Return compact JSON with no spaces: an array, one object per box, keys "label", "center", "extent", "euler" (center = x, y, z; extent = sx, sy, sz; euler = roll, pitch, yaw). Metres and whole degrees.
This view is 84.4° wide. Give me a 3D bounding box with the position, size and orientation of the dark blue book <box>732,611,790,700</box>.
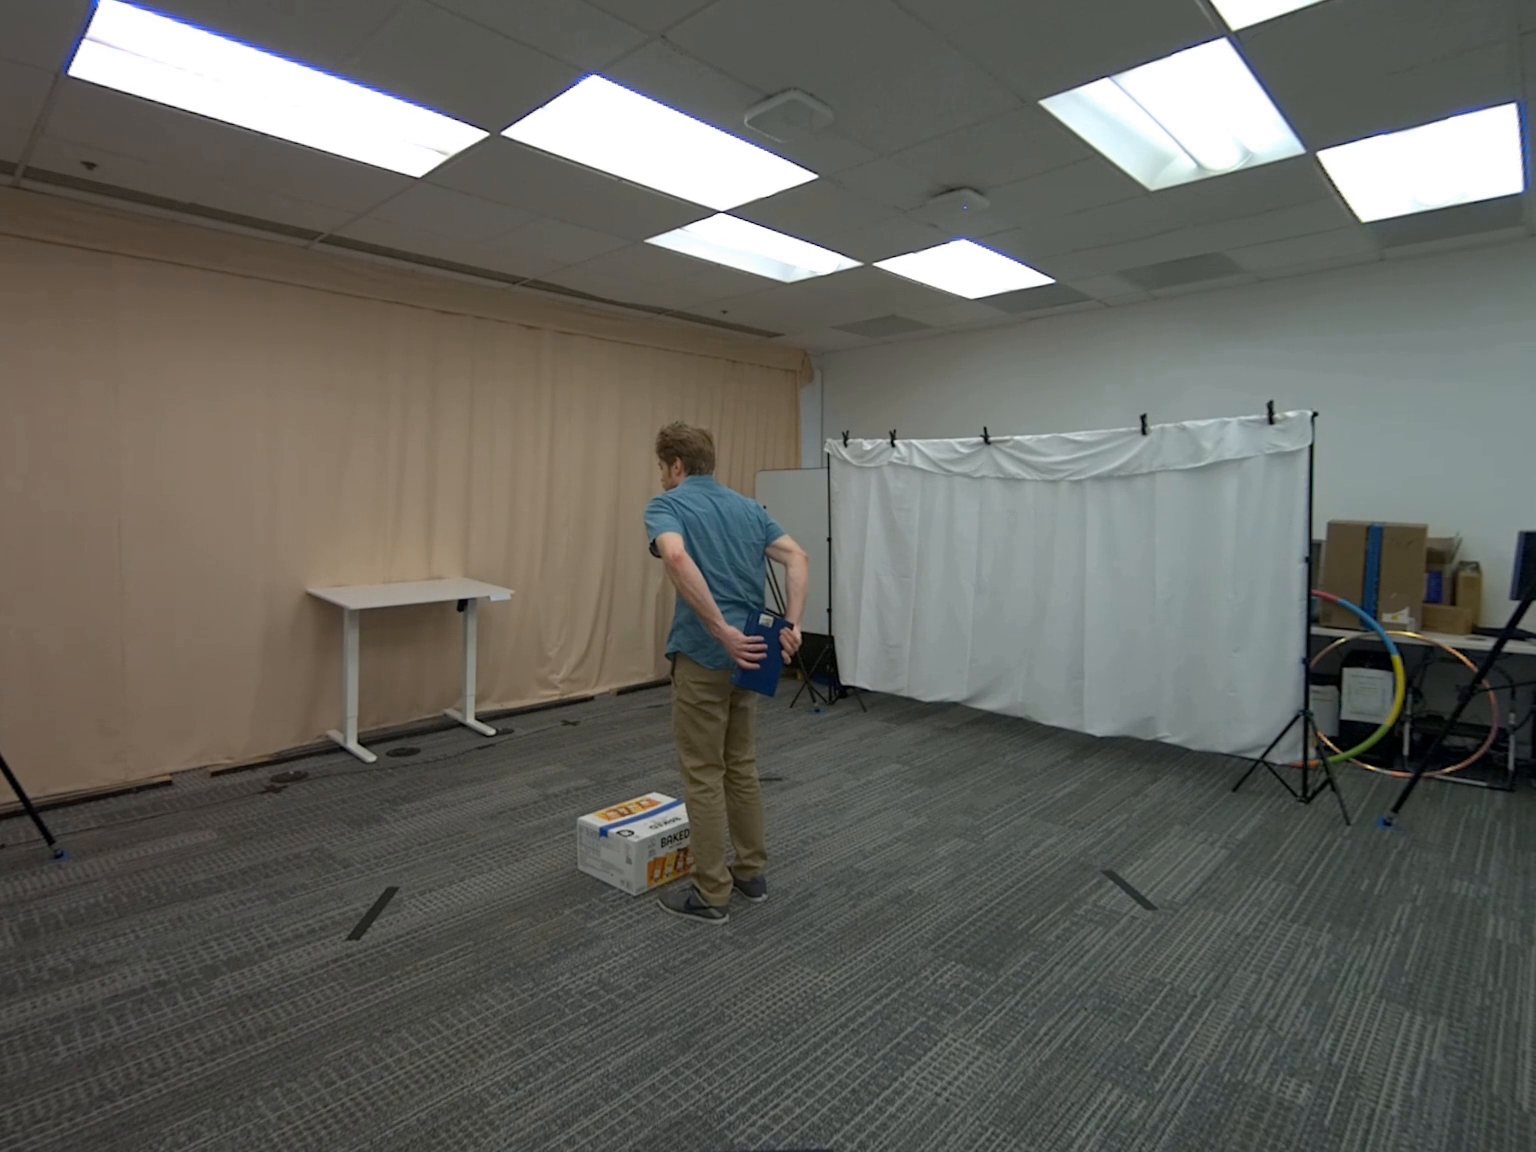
[{"label":"dark blue book","center":[-0.028,0.243,2.650],"extent":[0.158,0.246,0.046],"euler":[23,-12,-33]}]
